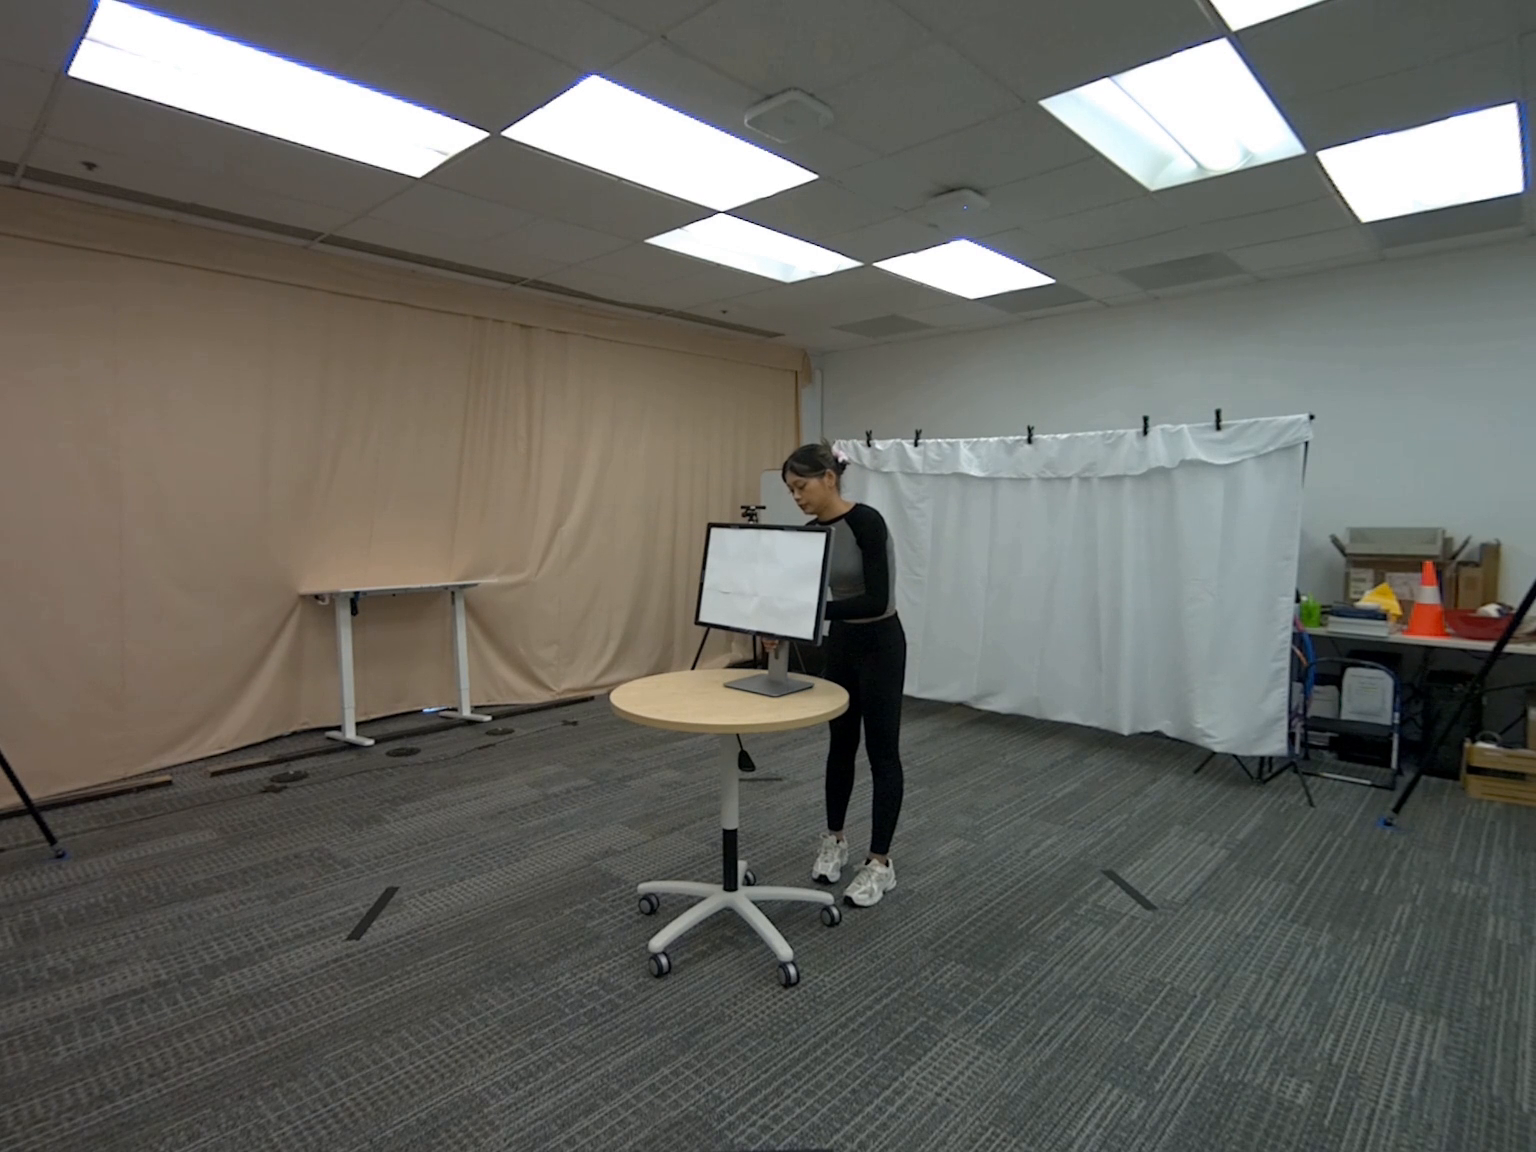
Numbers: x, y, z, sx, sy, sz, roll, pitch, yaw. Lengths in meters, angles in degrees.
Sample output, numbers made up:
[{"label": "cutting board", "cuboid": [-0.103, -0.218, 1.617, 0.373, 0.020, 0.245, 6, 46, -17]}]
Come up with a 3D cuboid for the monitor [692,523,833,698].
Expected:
[{"label": "monitor", "cuboid": [0.005, 0.106, 2.785, 0.557, 0.521, 0.181, 3, 6, 42]}]
